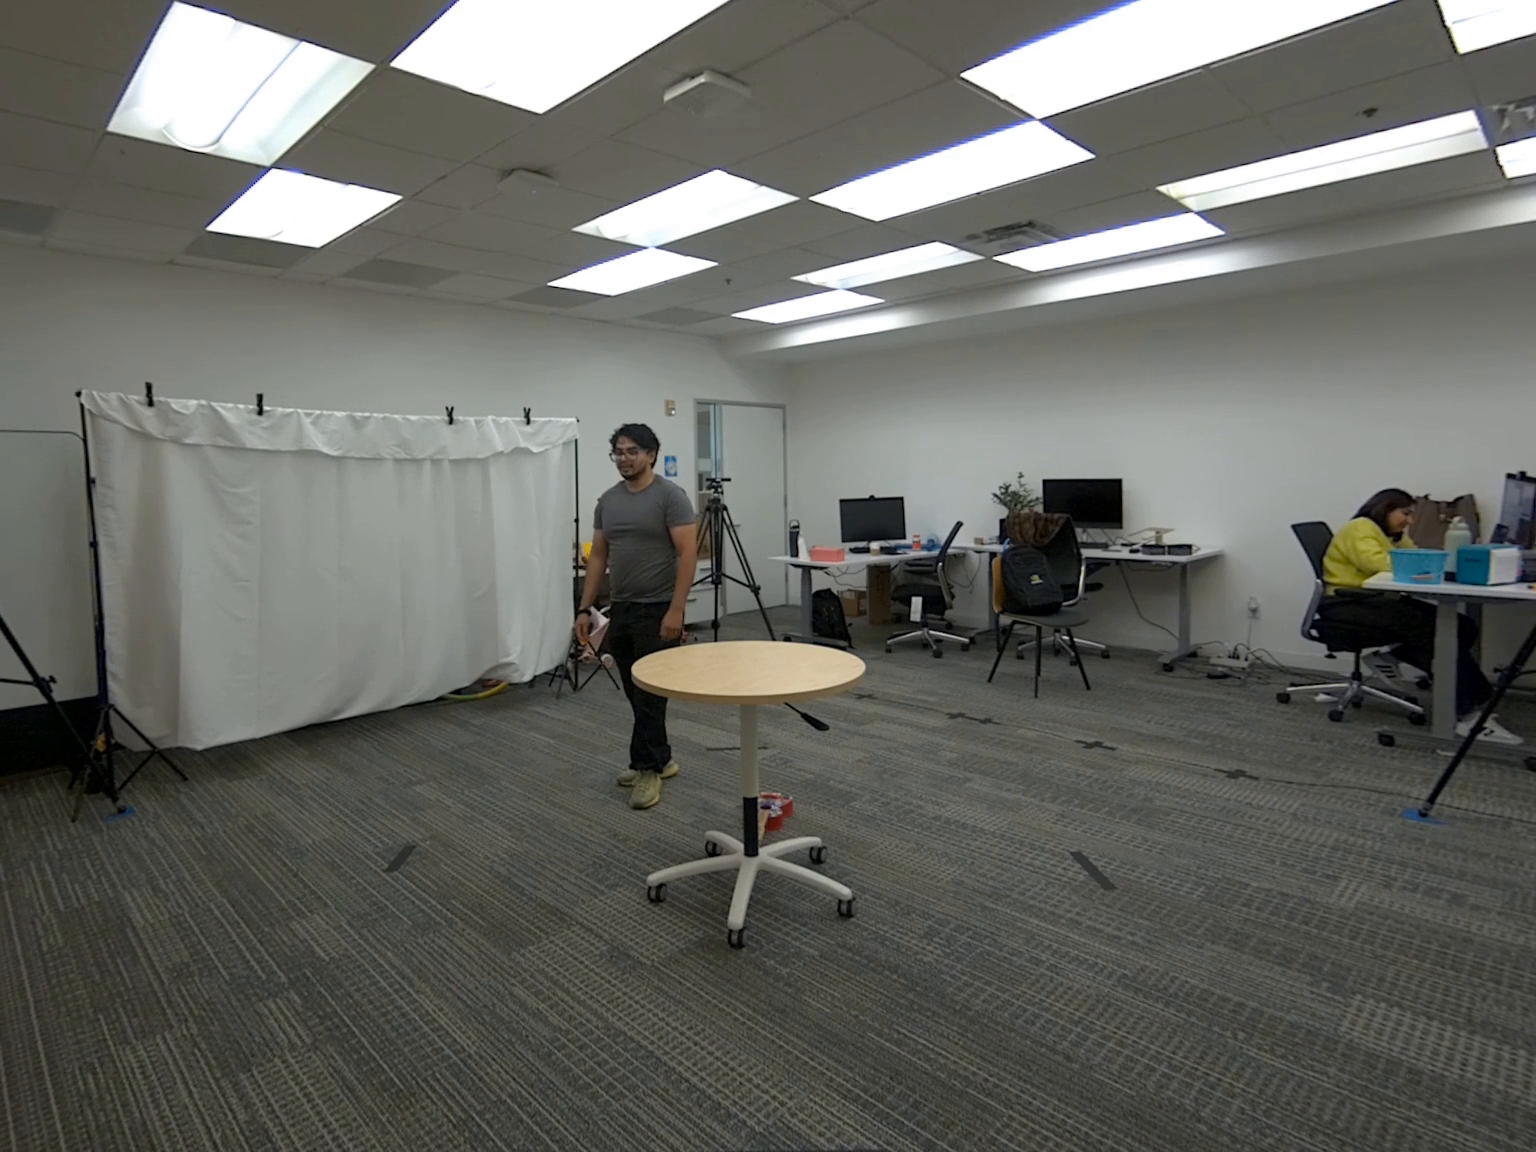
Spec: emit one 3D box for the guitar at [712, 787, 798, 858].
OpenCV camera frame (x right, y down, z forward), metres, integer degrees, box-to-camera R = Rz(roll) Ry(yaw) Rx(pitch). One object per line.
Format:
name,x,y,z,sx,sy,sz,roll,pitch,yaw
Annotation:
guitar,-0.044,0.968,3.405,0.196,0.070,0.491,1,6,18
